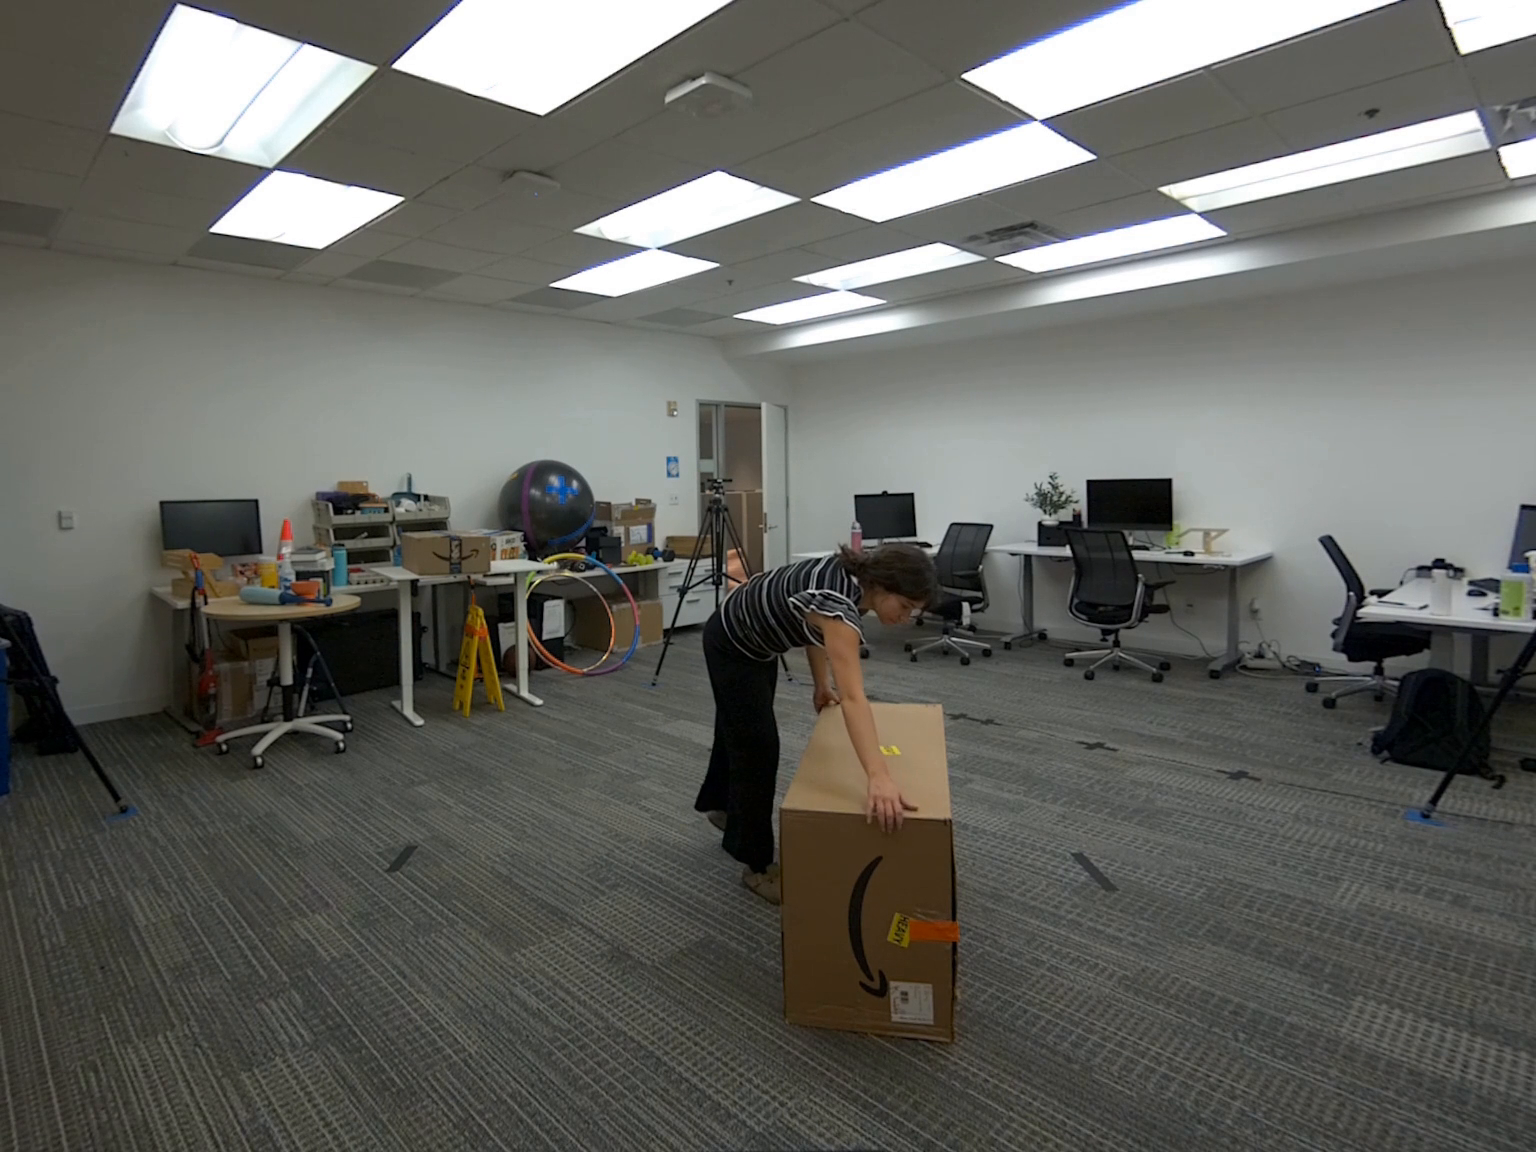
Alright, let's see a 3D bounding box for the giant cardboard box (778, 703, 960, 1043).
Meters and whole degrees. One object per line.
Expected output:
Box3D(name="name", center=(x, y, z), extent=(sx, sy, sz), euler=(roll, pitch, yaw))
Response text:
Box3D(name="giant cardboard box", center=(0.341, 0.802, 2.612), extent=(0.431, 0.575, 1.018), euler=(0, 6, 11))
